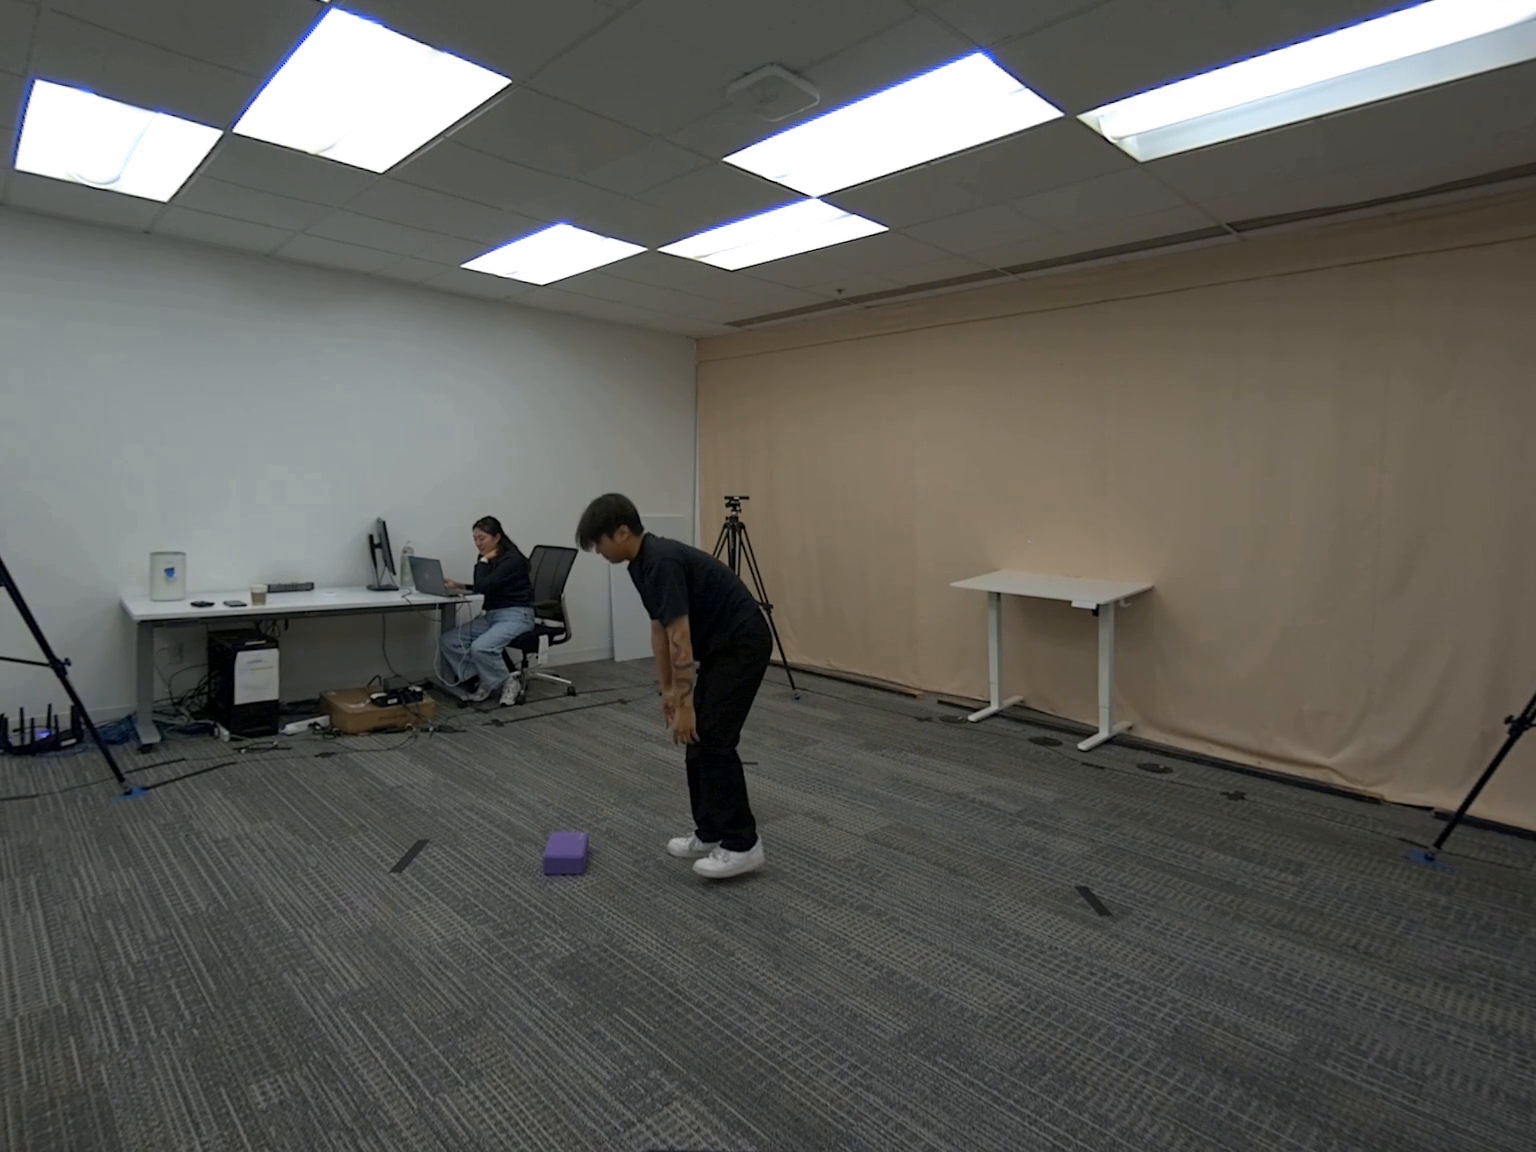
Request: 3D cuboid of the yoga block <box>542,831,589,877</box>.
[{"bbox_3d":[-0.767,1.043,3.178,0.148,0.076,0.231,2,8,-6],"label":"yoga block"}]
